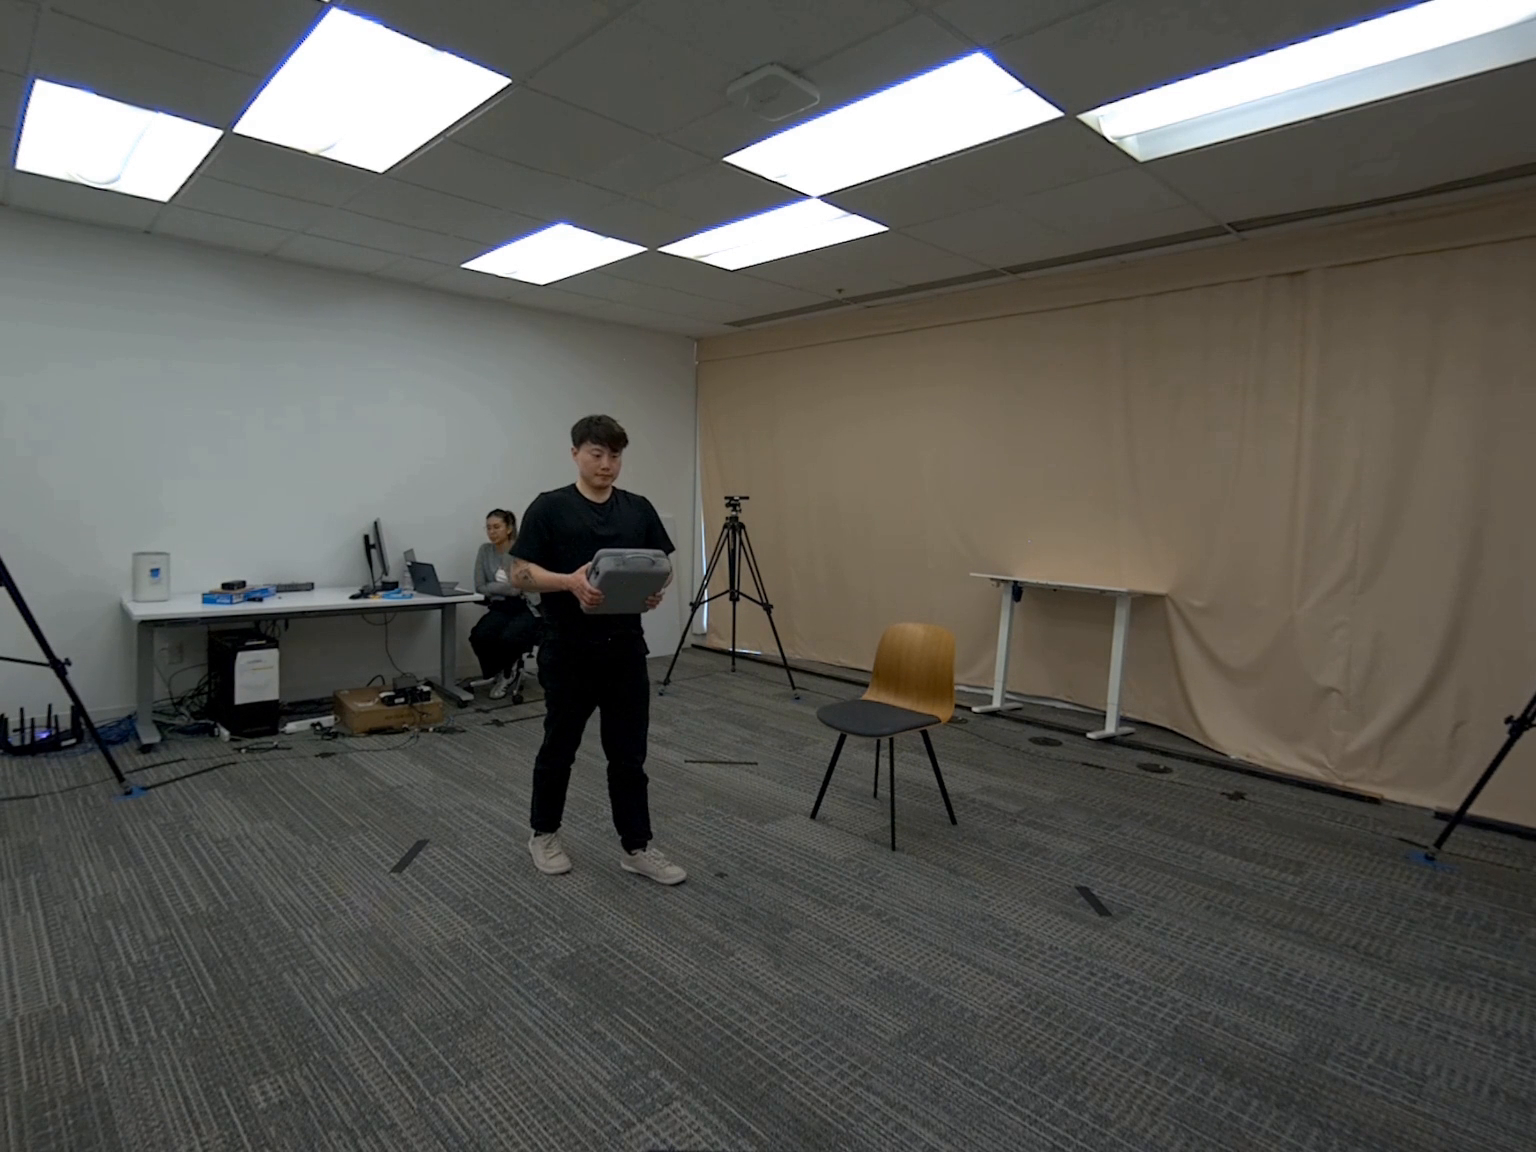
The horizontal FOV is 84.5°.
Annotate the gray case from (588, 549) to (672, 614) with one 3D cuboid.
[{"bbox_3d":[-0.503,0.012,2.818,0.251,0.107,0.260,0,-34,-36],"label":"gray case"}]
